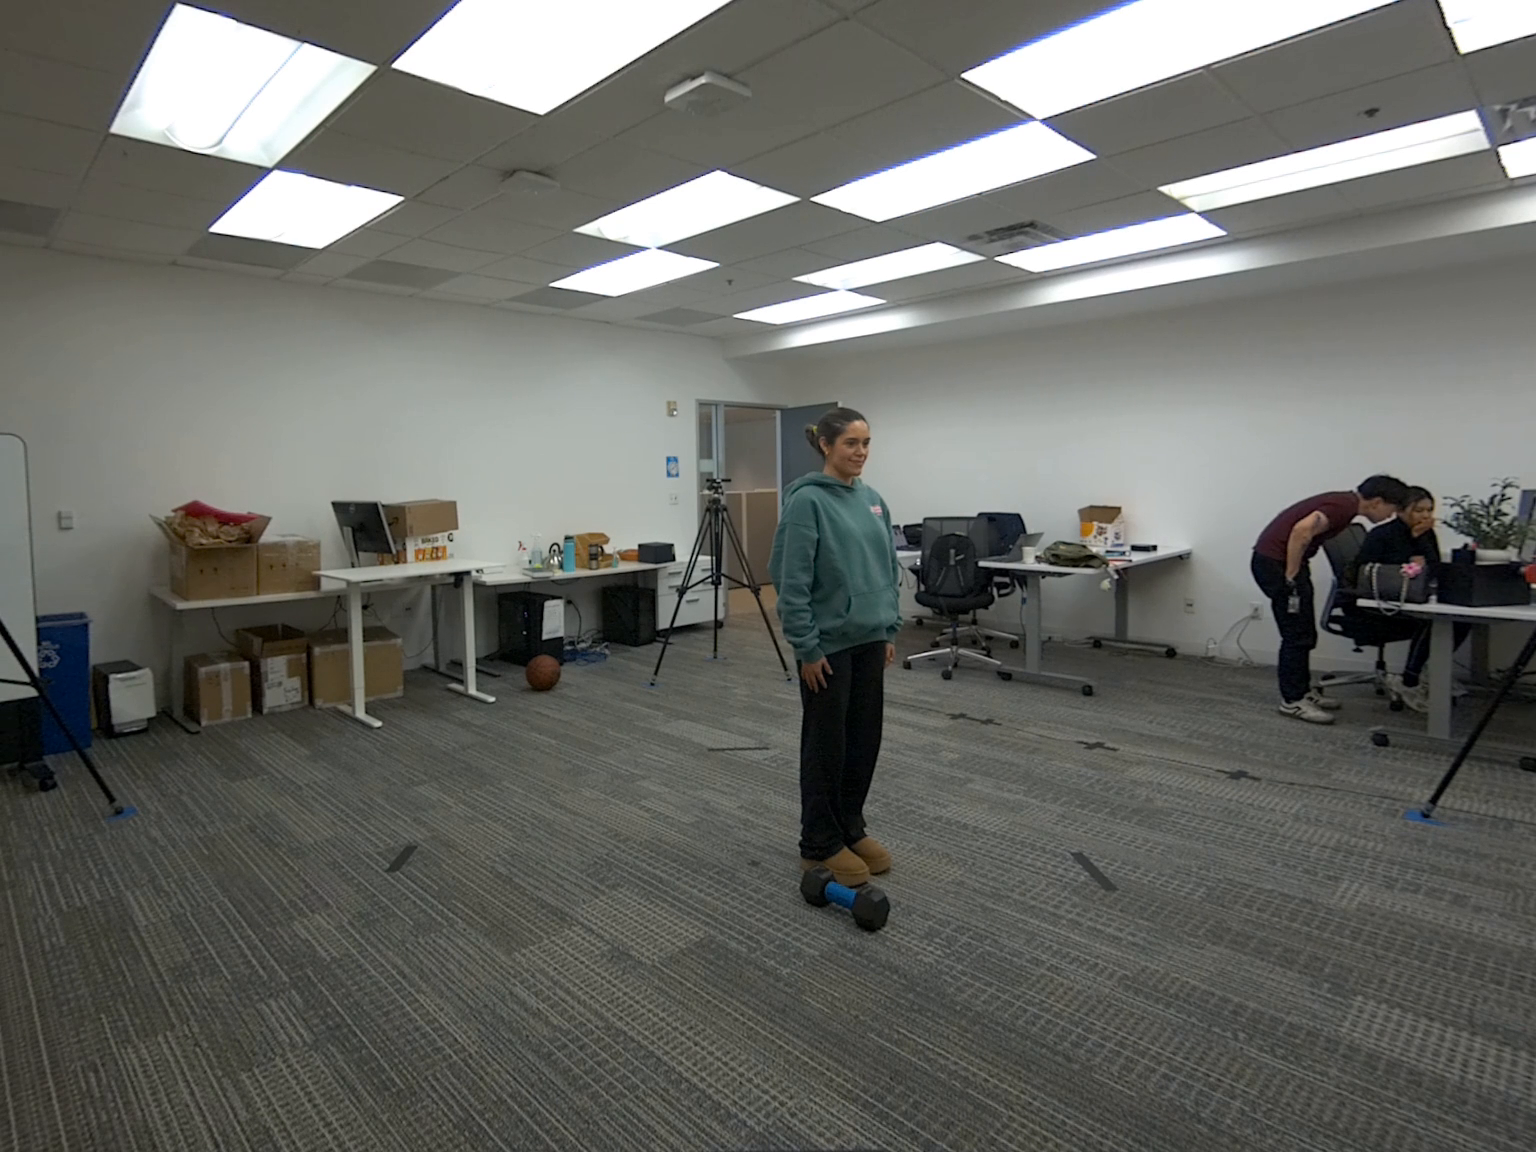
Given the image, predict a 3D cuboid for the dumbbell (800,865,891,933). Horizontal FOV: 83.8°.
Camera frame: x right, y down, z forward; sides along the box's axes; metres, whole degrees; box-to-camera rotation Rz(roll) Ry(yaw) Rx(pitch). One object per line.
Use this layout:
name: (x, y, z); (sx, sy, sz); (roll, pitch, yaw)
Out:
dumbbell: (0.245, 1.032, 2.735); (0.303, 0.119, 0.108); (5, 39, 45)
